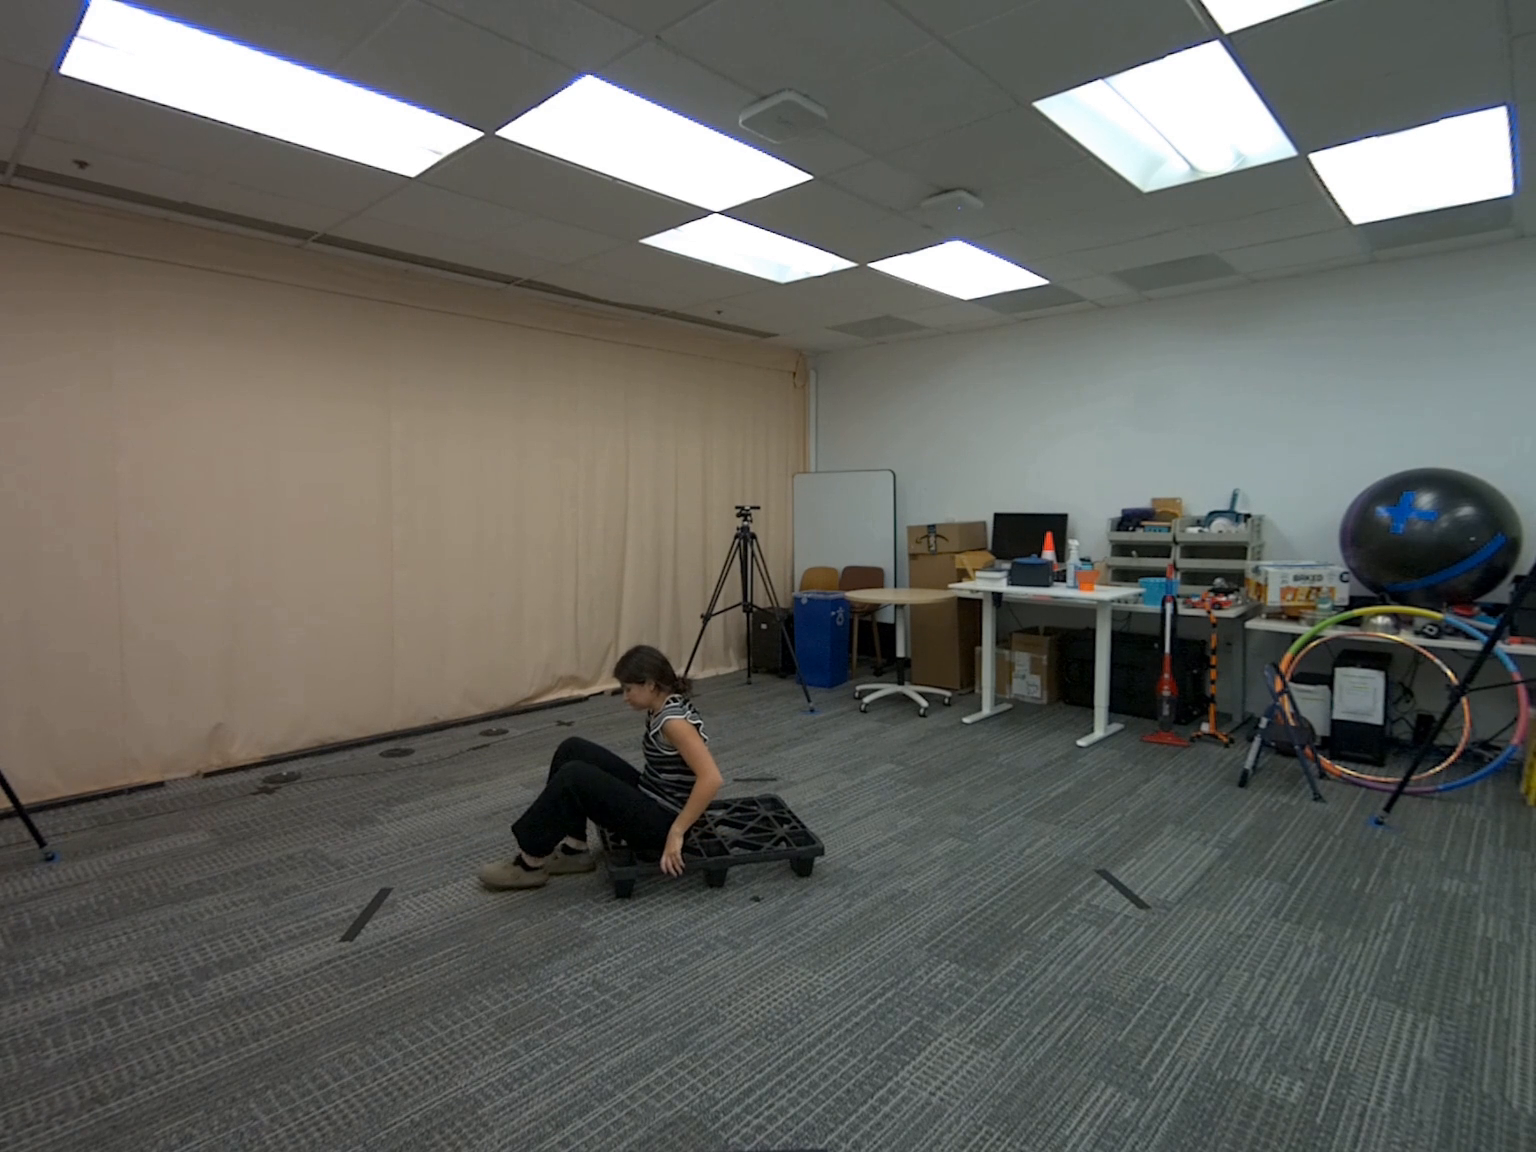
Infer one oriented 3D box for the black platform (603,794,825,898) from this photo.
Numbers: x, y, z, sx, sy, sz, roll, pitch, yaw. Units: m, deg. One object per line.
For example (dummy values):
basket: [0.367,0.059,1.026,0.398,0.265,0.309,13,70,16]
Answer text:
black platform: [-0.253,1.052,3.295,0.794,0.143,0.615,-2,4,-14]
